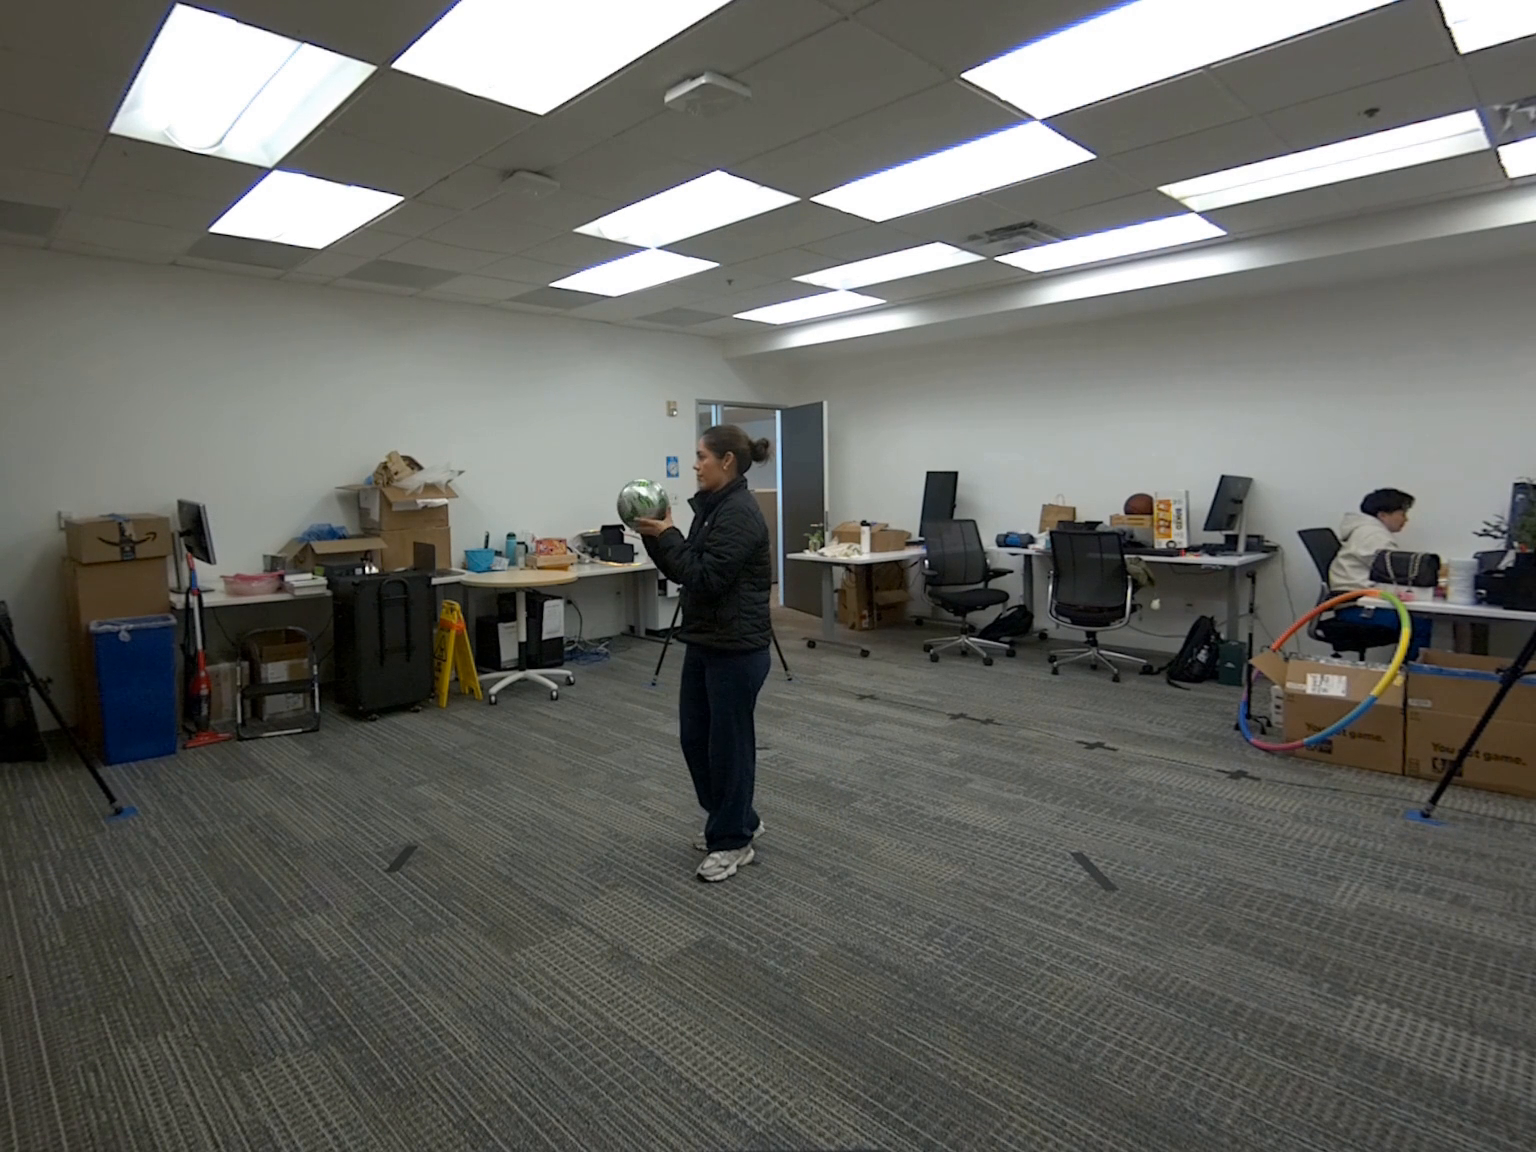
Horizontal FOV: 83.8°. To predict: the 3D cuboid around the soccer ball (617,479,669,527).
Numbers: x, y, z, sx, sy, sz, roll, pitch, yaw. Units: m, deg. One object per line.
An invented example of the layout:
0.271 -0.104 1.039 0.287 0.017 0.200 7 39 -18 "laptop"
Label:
-0.445 -0.254 3.059 0.187 0.187 0.188 -1 5 -2 "soccer ball"
